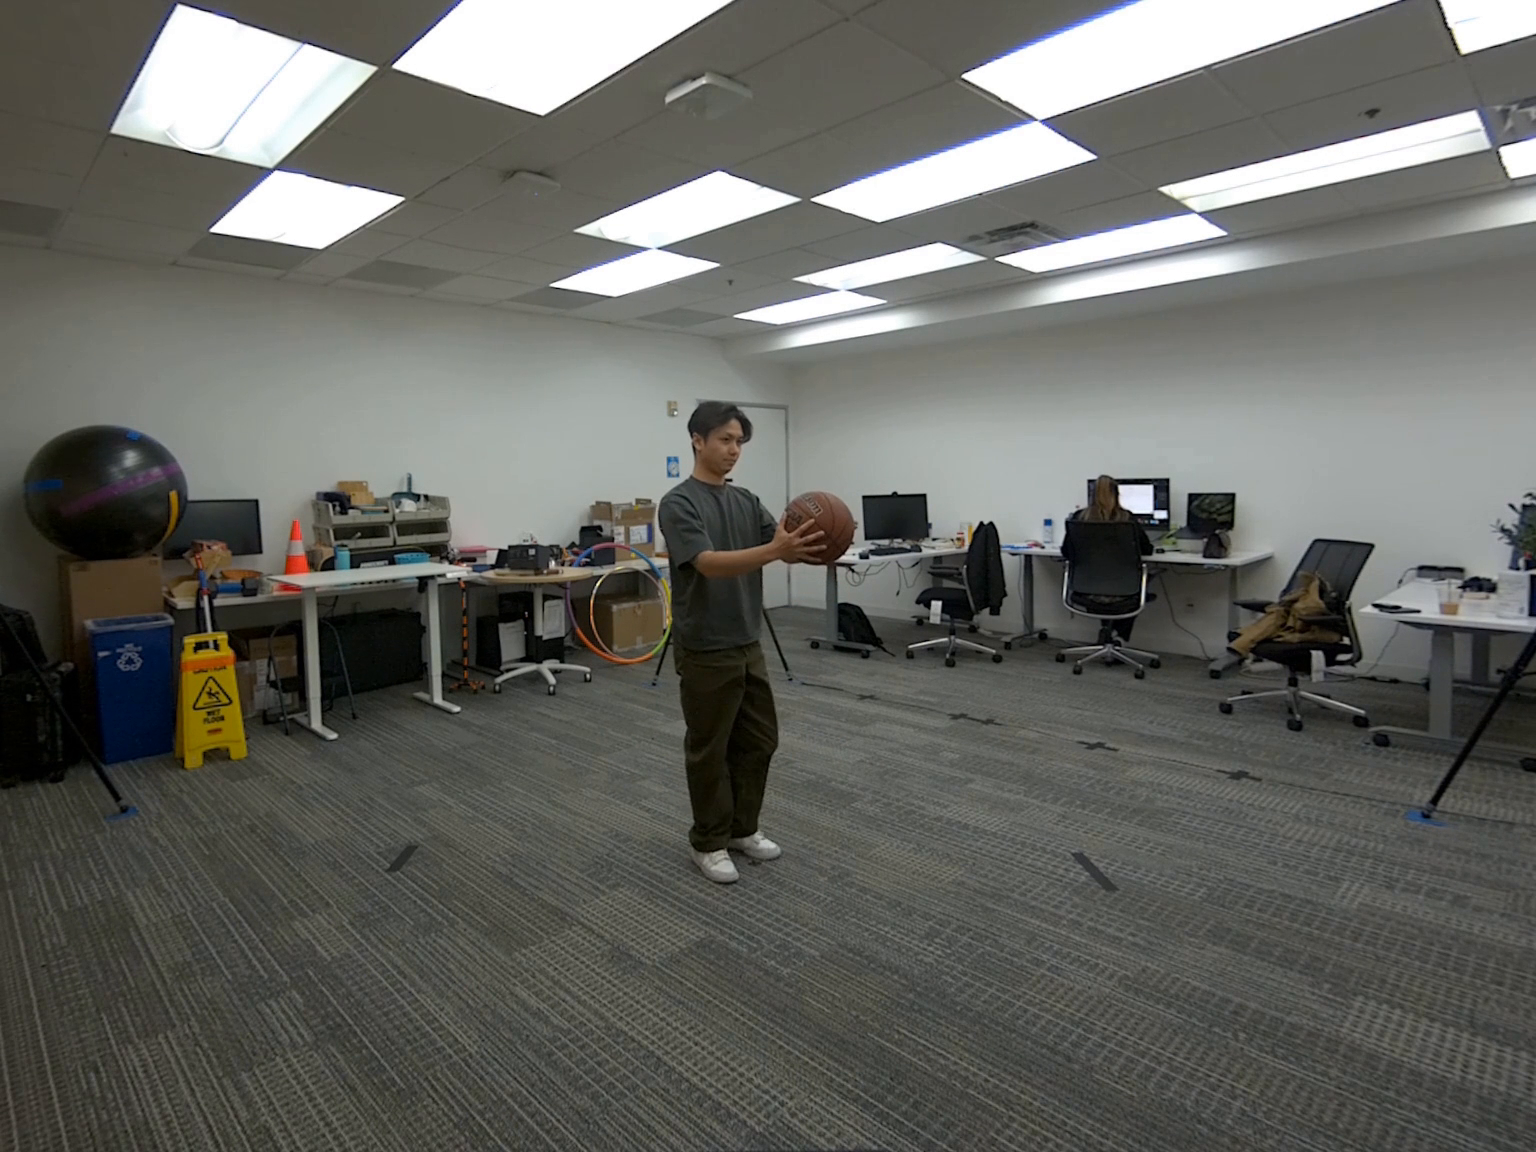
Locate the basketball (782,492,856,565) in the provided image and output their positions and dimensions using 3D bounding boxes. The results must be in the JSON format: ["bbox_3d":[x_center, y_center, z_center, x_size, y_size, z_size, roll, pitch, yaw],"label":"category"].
[{"bbox_3d":[0.156,-0.151,2.745,0.236,0.235,0.237,-1,5,-2],"label":"basketball"}]
